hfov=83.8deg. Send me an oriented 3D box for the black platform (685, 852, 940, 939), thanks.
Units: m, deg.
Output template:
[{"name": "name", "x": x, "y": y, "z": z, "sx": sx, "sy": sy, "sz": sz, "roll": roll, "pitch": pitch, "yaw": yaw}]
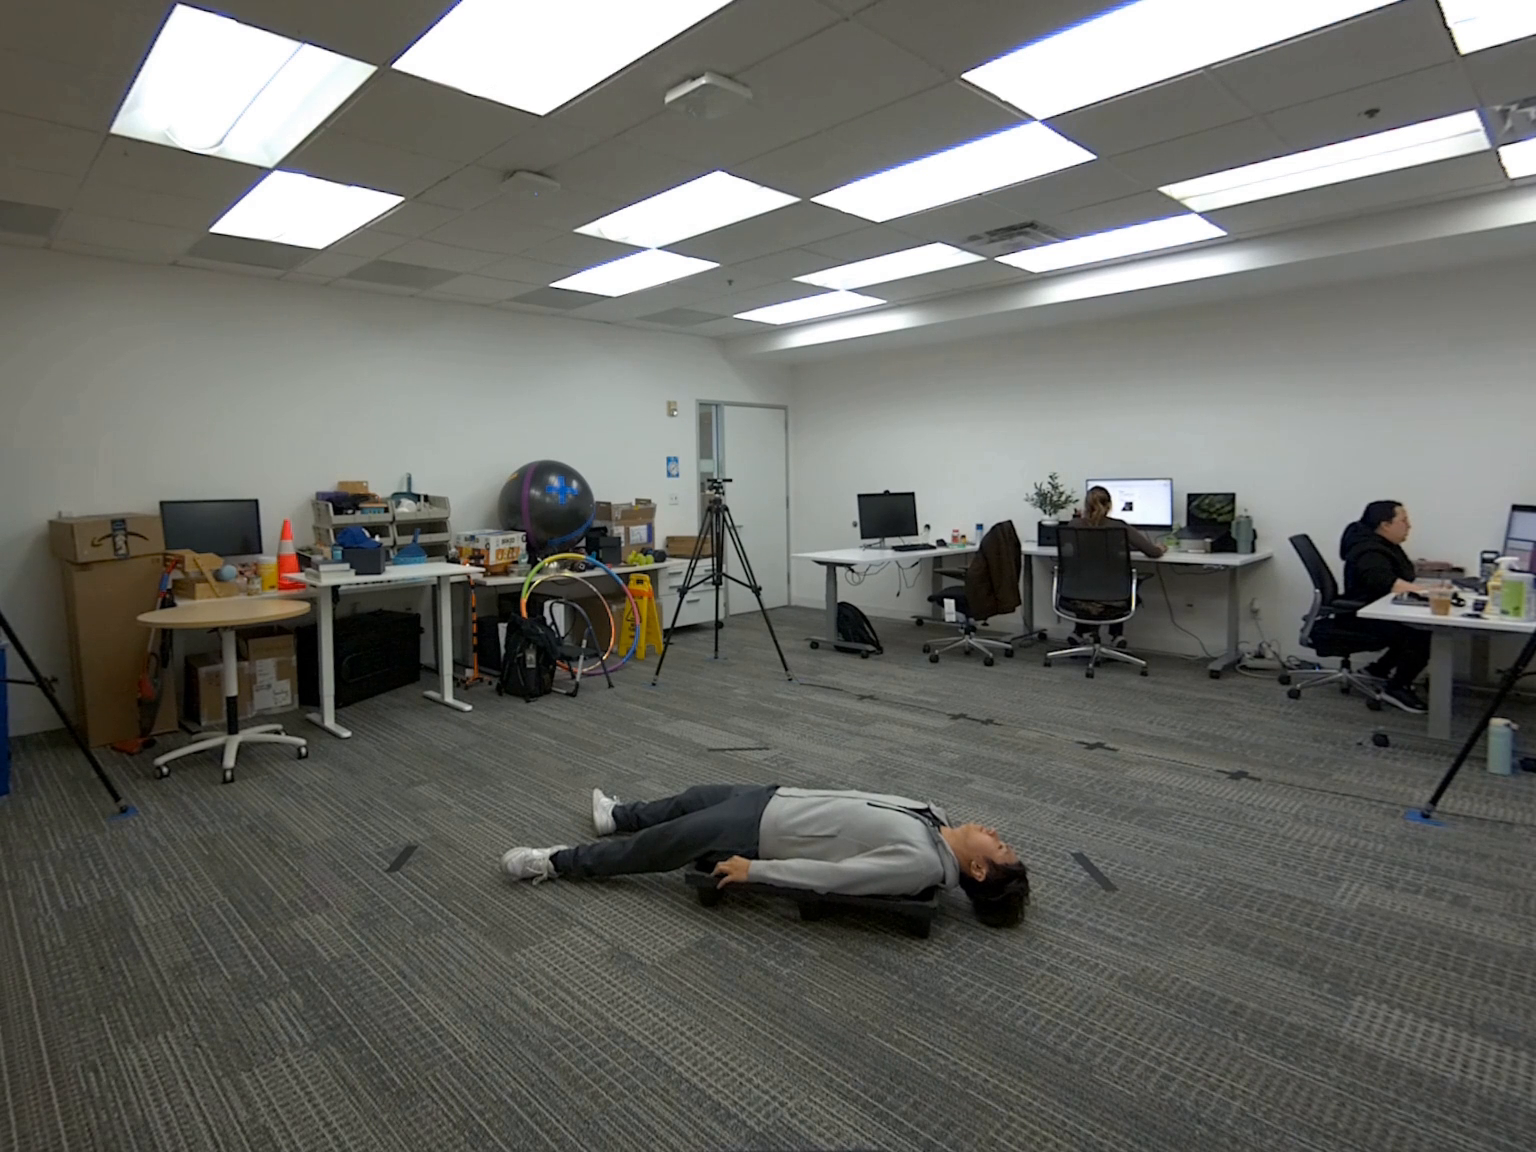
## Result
[{"name": "black platform", "x": 0.194, "y": 0.980, "z": 2.913, "sx": 0.821, "sy": 0.143, "sz": 0.595, "roll": 2, "pitch": 4, "yaw": 19}]
